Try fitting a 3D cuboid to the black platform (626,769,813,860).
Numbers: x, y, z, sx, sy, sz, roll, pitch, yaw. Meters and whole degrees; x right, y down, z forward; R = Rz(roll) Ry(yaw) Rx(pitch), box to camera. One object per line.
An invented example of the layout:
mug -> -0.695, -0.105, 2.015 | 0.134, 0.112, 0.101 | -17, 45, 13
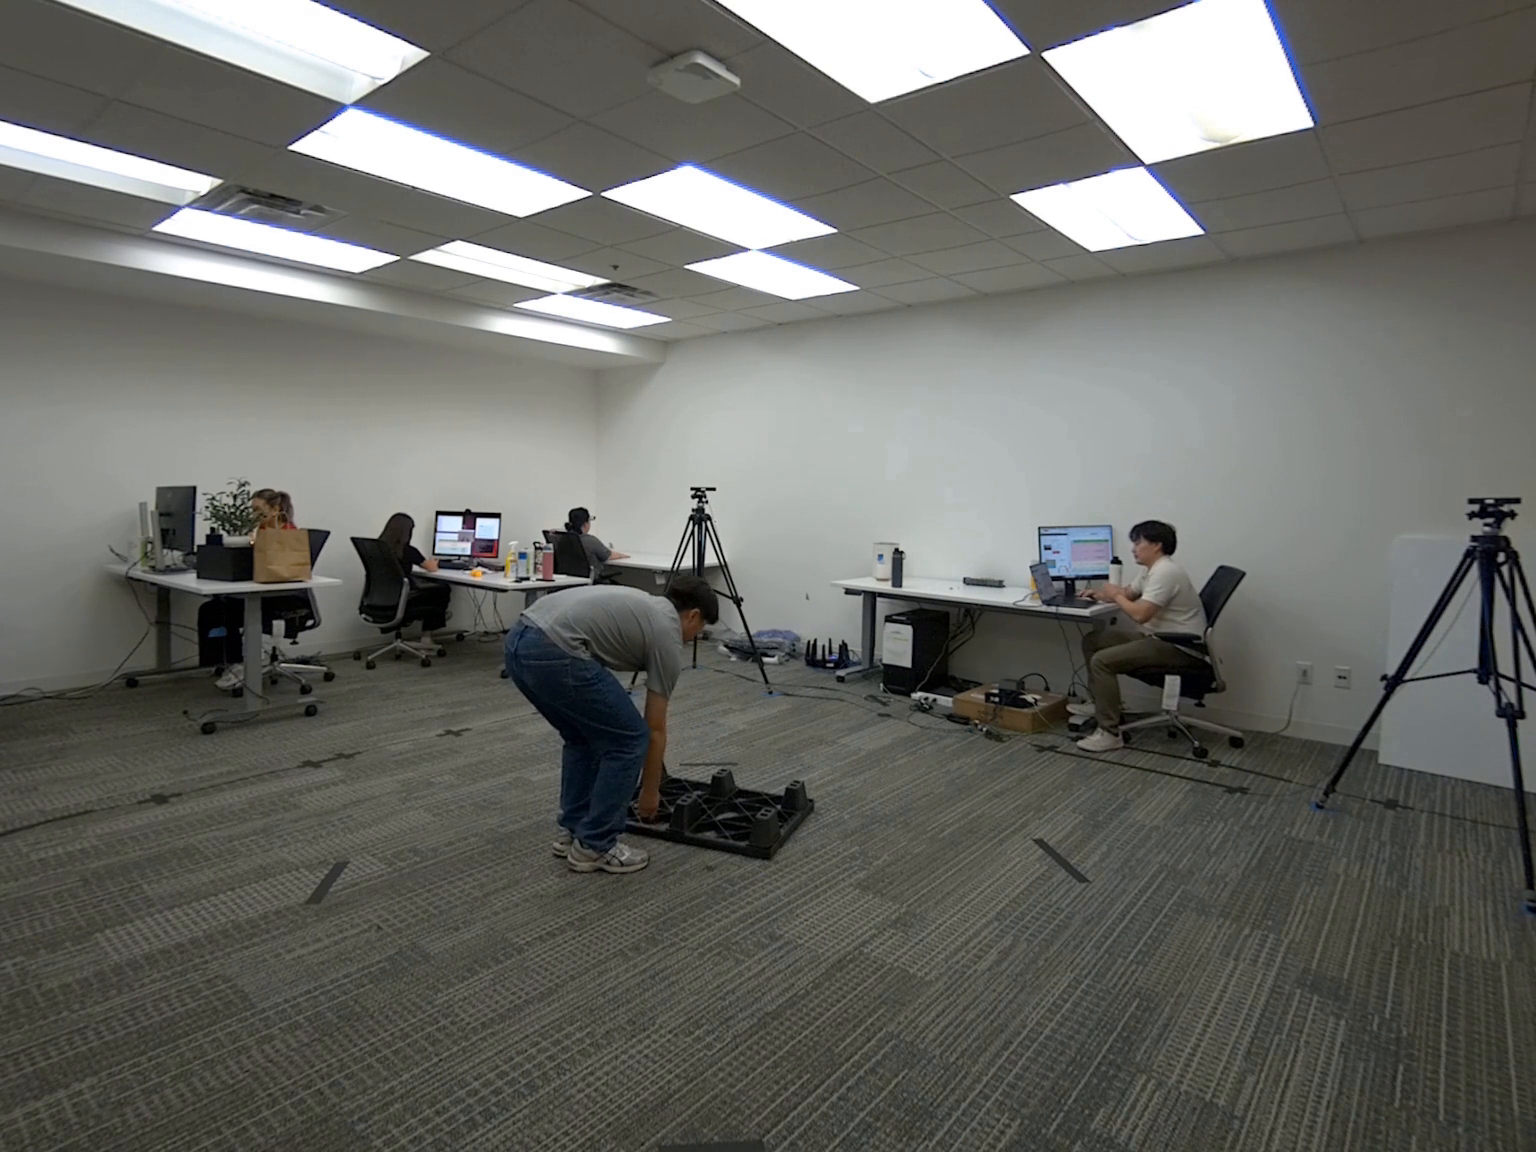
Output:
black platform -> -0.270, 0.948, 3.608 | 0.824, 0.143, 0.594 | 3, 6, 21
